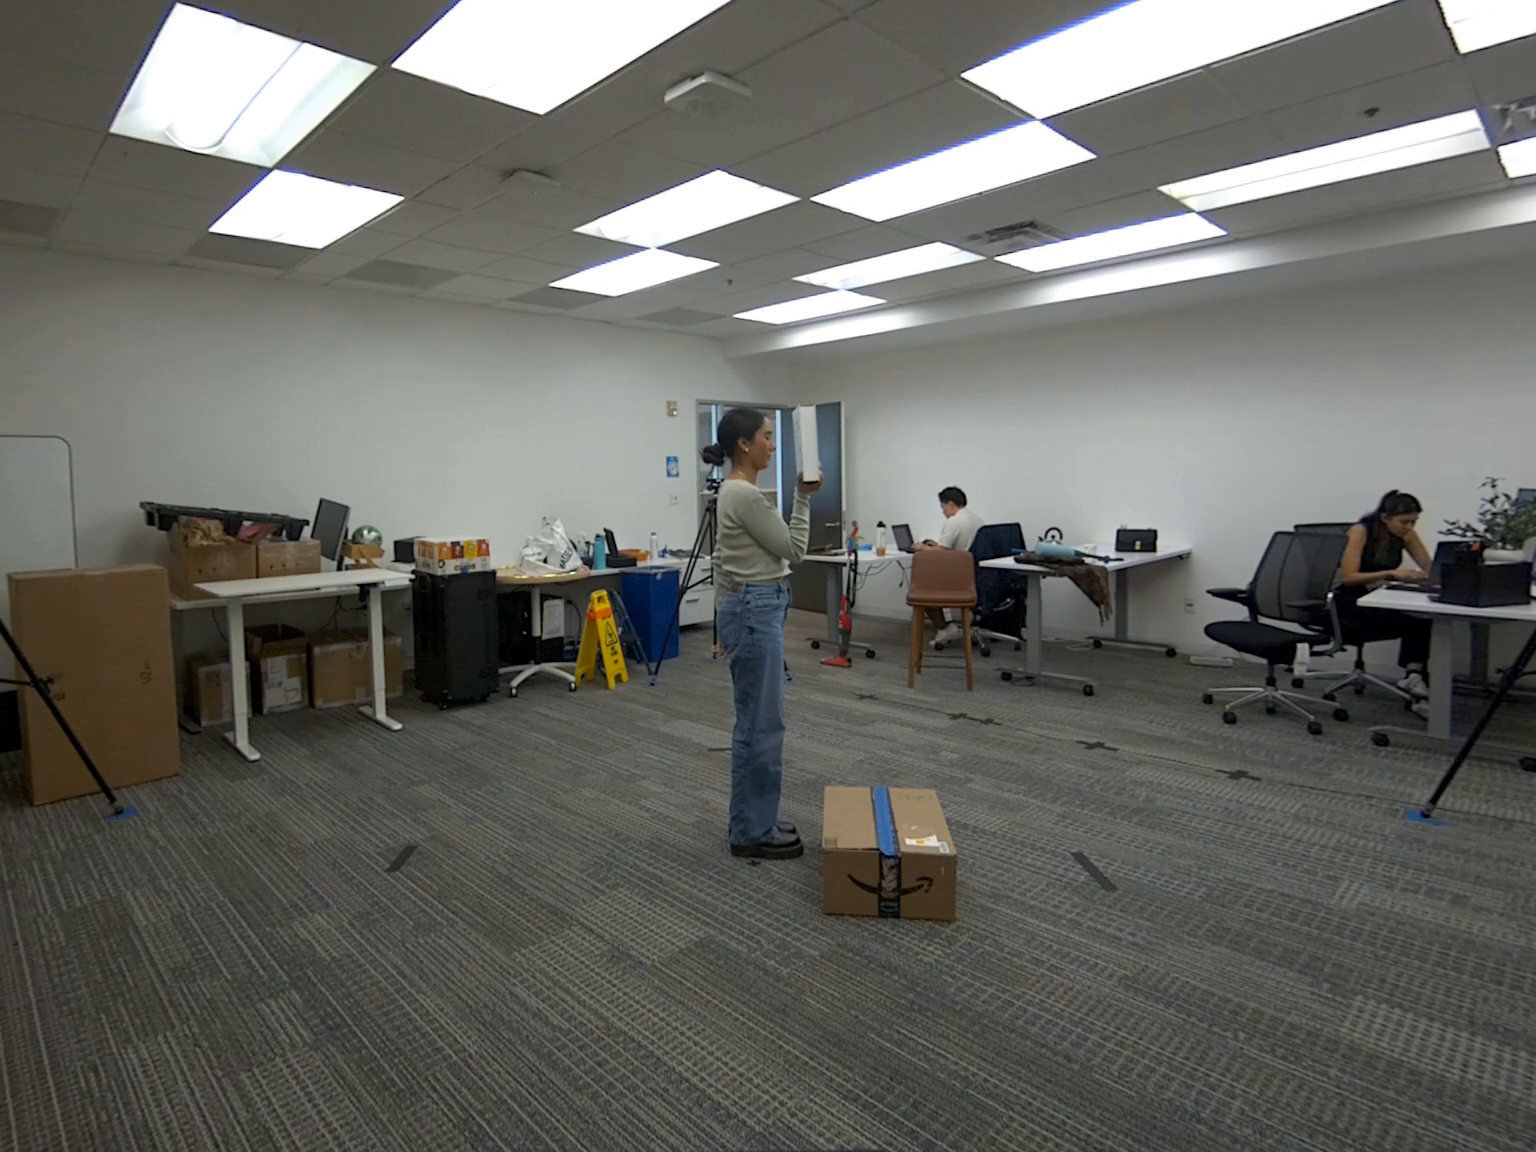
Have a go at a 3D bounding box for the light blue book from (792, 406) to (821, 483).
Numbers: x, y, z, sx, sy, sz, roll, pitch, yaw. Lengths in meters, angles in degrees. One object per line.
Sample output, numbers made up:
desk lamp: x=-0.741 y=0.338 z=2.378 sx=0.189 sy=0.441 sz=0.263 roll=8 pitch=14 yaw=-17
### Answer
light blue book: x=0.135 y=-0.461 z=3.004 sx=0.059 sy=0.261 sz=0.192 roll=-3 pitch=-1 yaw=-5
